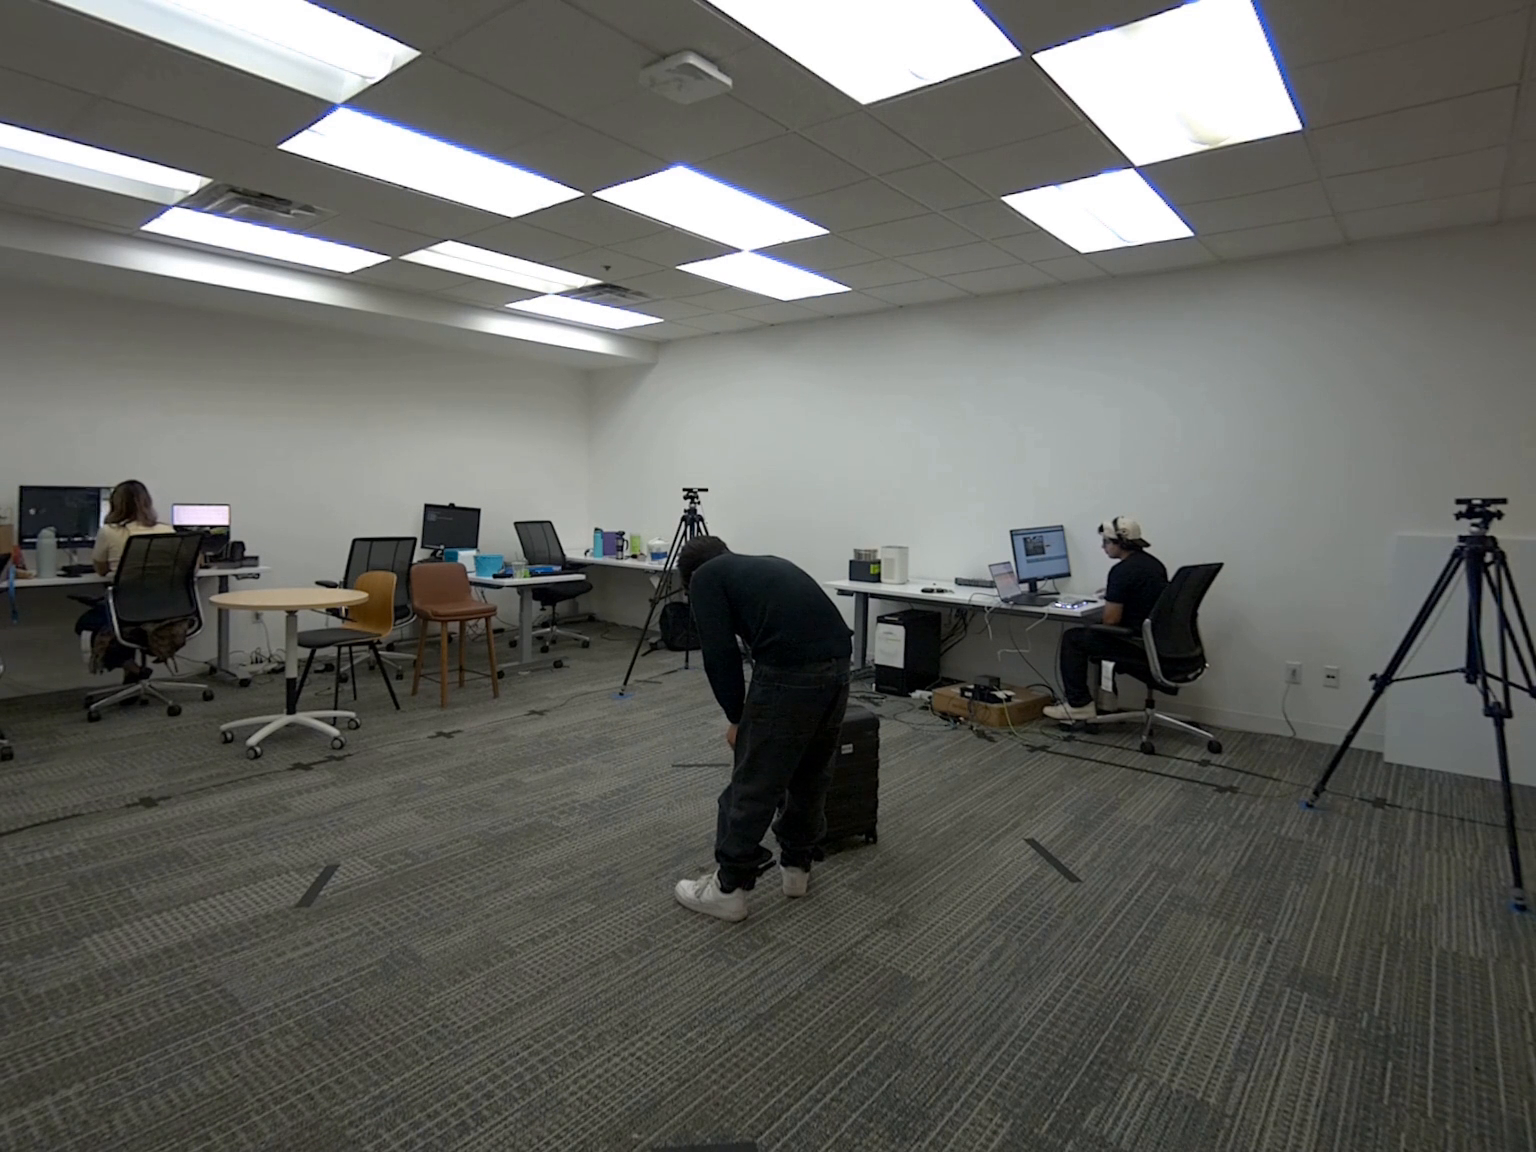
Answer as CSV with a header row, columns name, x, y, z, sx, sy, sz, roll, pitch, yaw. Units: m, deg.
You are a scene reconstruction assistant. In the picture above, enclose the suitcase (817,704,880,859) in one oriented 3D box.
name,x,y,z,sx,sy,sz,roll,pitch,yaw
suitcase,0.240,0.776,3.374,0.365,0.547,0.256,-1,5,-32
